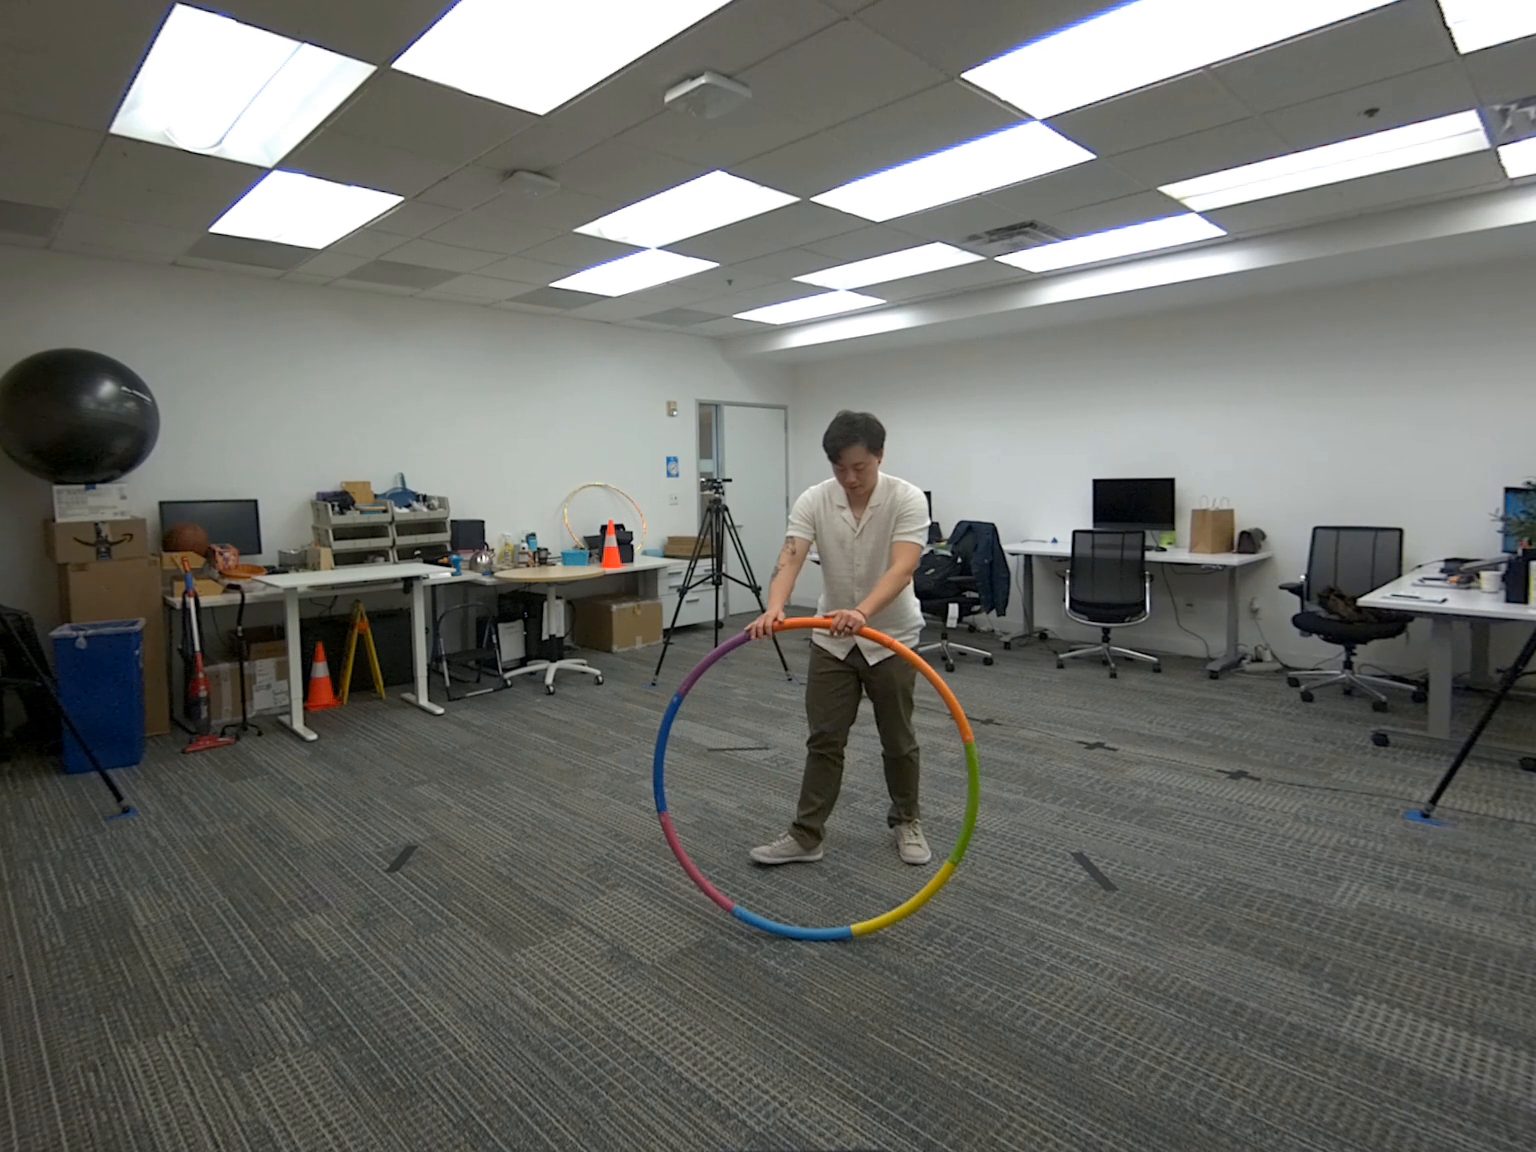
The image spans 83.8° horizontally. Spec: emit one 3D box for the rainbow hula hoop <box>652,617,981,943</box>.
[{"bbox_3d":[0.132,0.612,2.626,0.985,0.983,0.035,-1,-5,7],"label":"rainbow hula hoop"}]
